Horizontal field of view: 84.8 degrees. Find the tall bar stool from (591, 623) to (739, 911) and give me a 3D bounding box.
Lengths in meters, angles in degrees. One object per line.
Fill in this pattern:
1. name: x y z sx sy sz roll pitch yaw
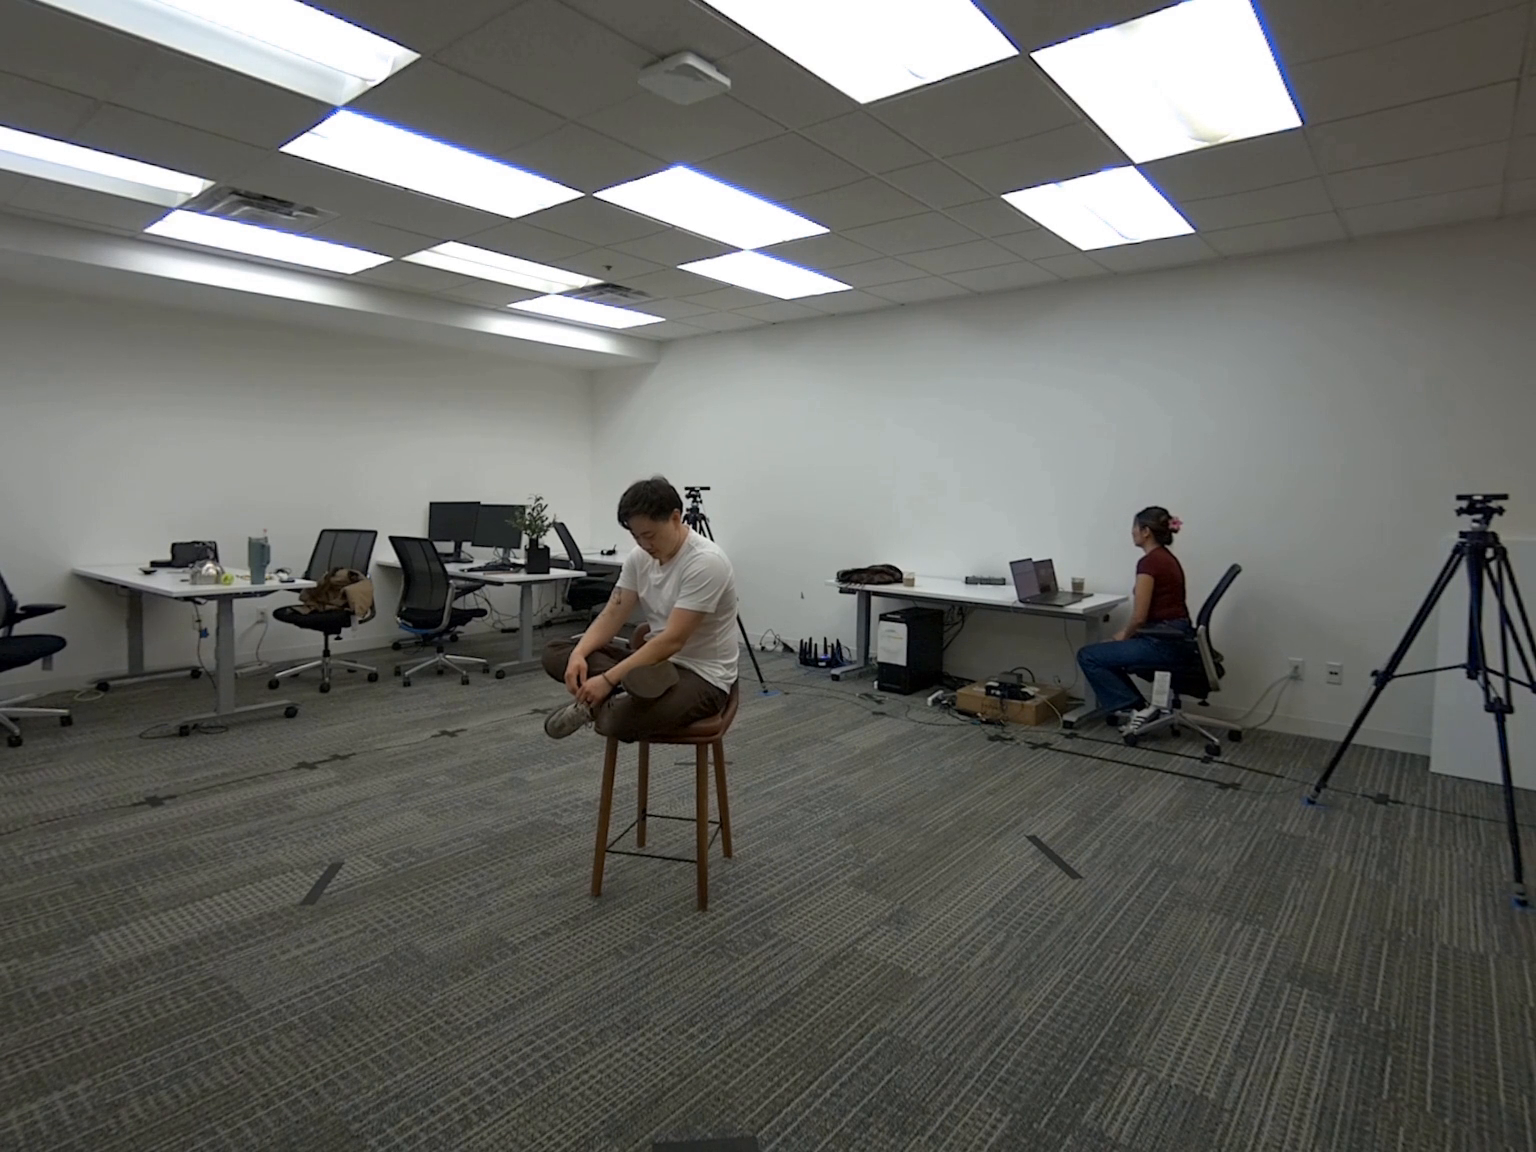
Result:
1. tall bar stool: -0.362 0.639 3.043 0.464 0.889 0.460 1 1 14
